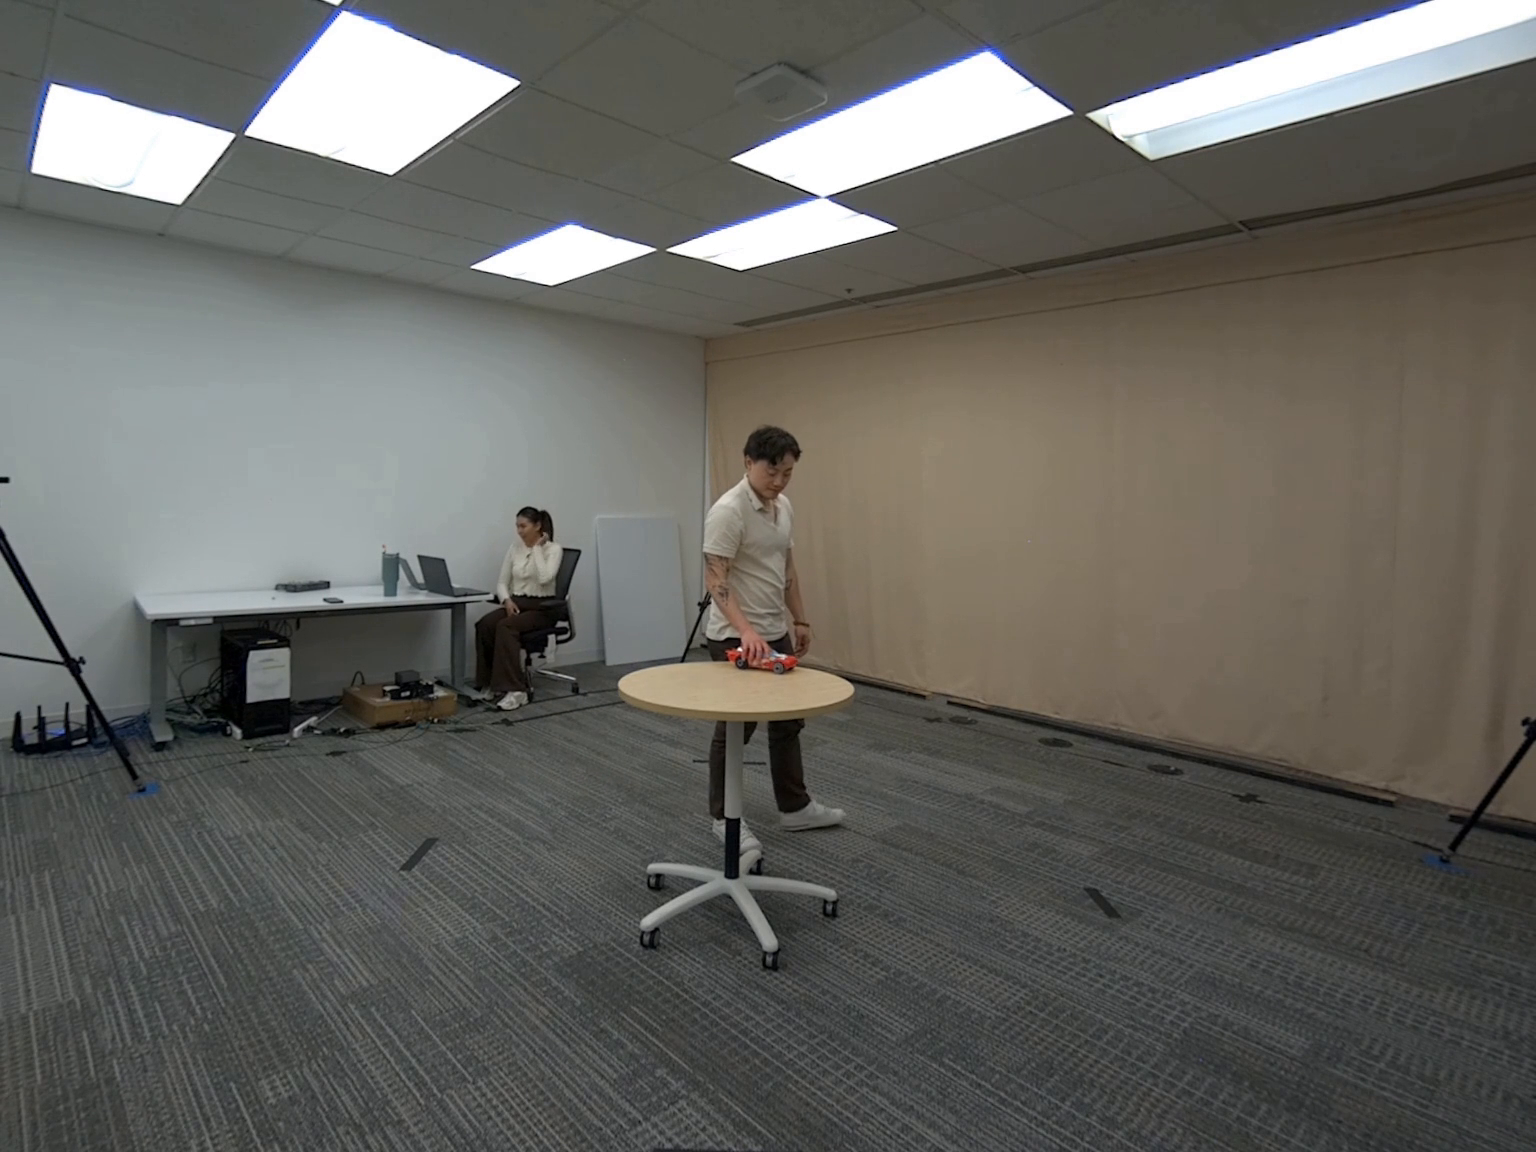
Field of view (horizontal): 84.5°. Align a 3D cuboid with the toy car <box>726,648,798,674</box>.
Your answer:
[{"bbox_3d":[-0.040,0.302,3.007,0.260,0.083,0.128,16,11,26],"label":"toy car"}]
